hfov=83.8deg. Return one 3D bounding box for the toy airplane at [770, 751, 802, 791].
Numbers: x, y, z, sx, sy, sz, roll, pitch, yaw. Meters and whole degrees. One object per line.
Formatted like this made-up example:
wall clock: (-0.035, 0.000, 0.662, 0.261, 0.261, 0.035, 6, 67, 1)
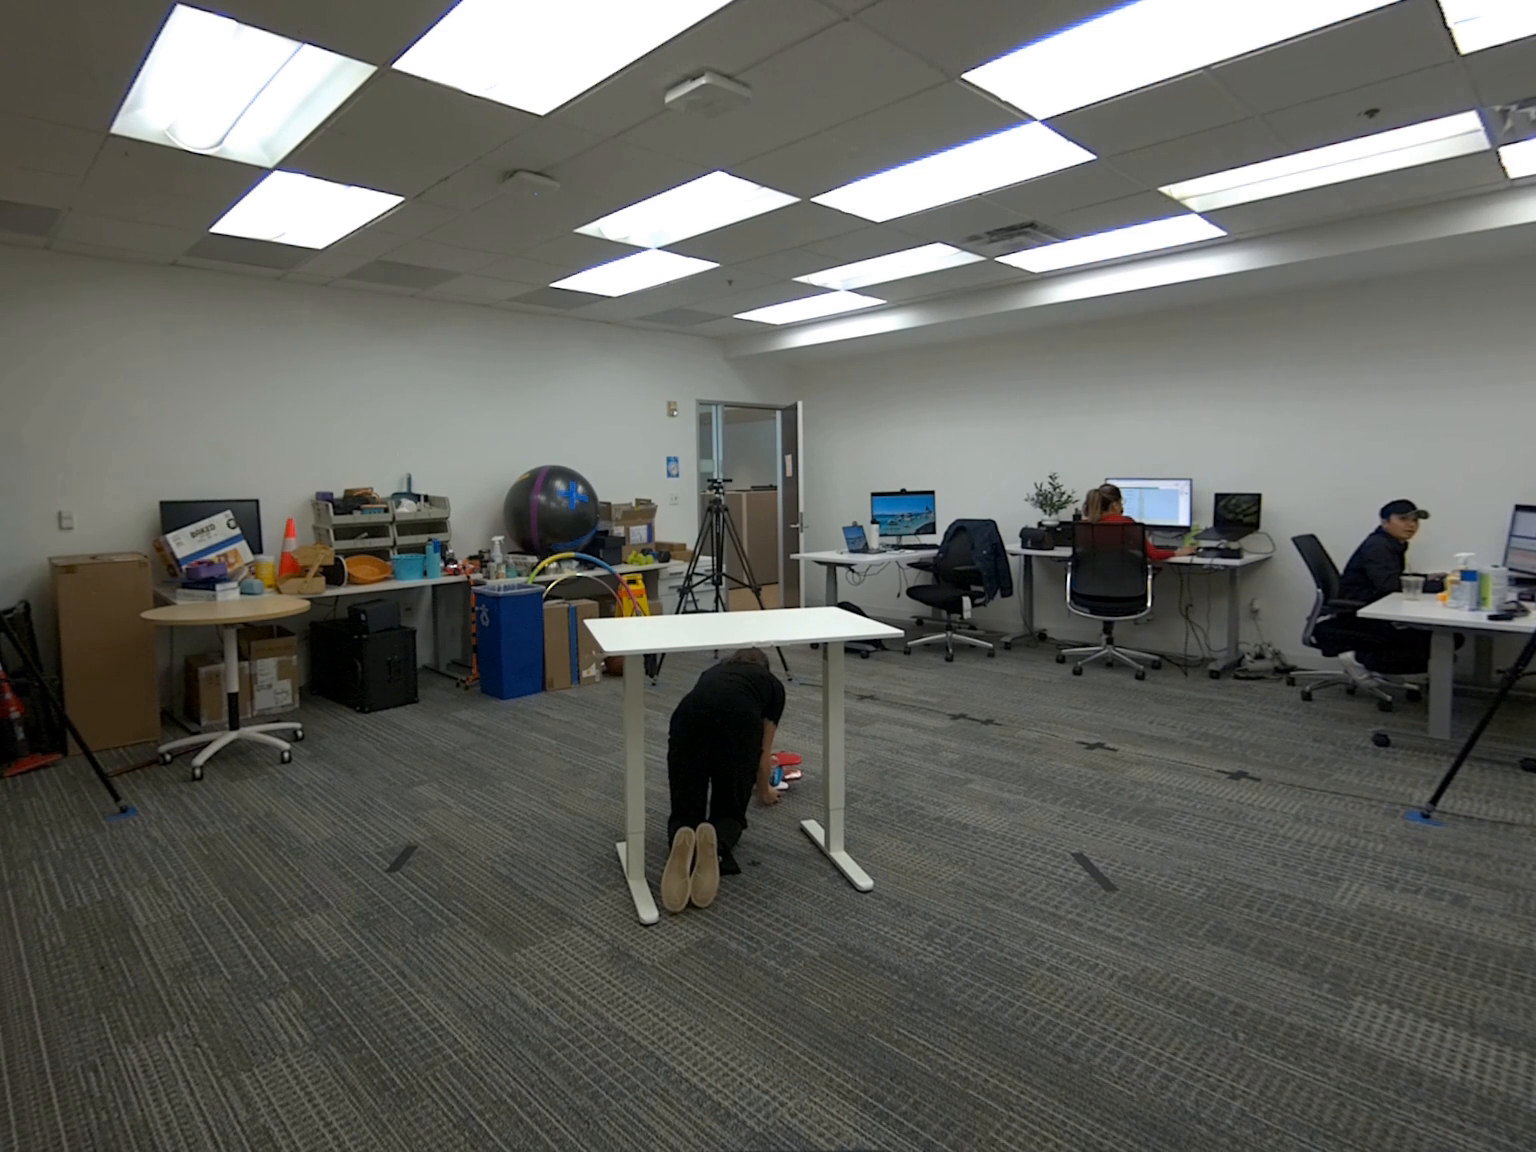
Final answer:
toy airplane: (0.045, 0.885, 3.809, 0.245, 0.156, 0.265, -3, 2, -28)
